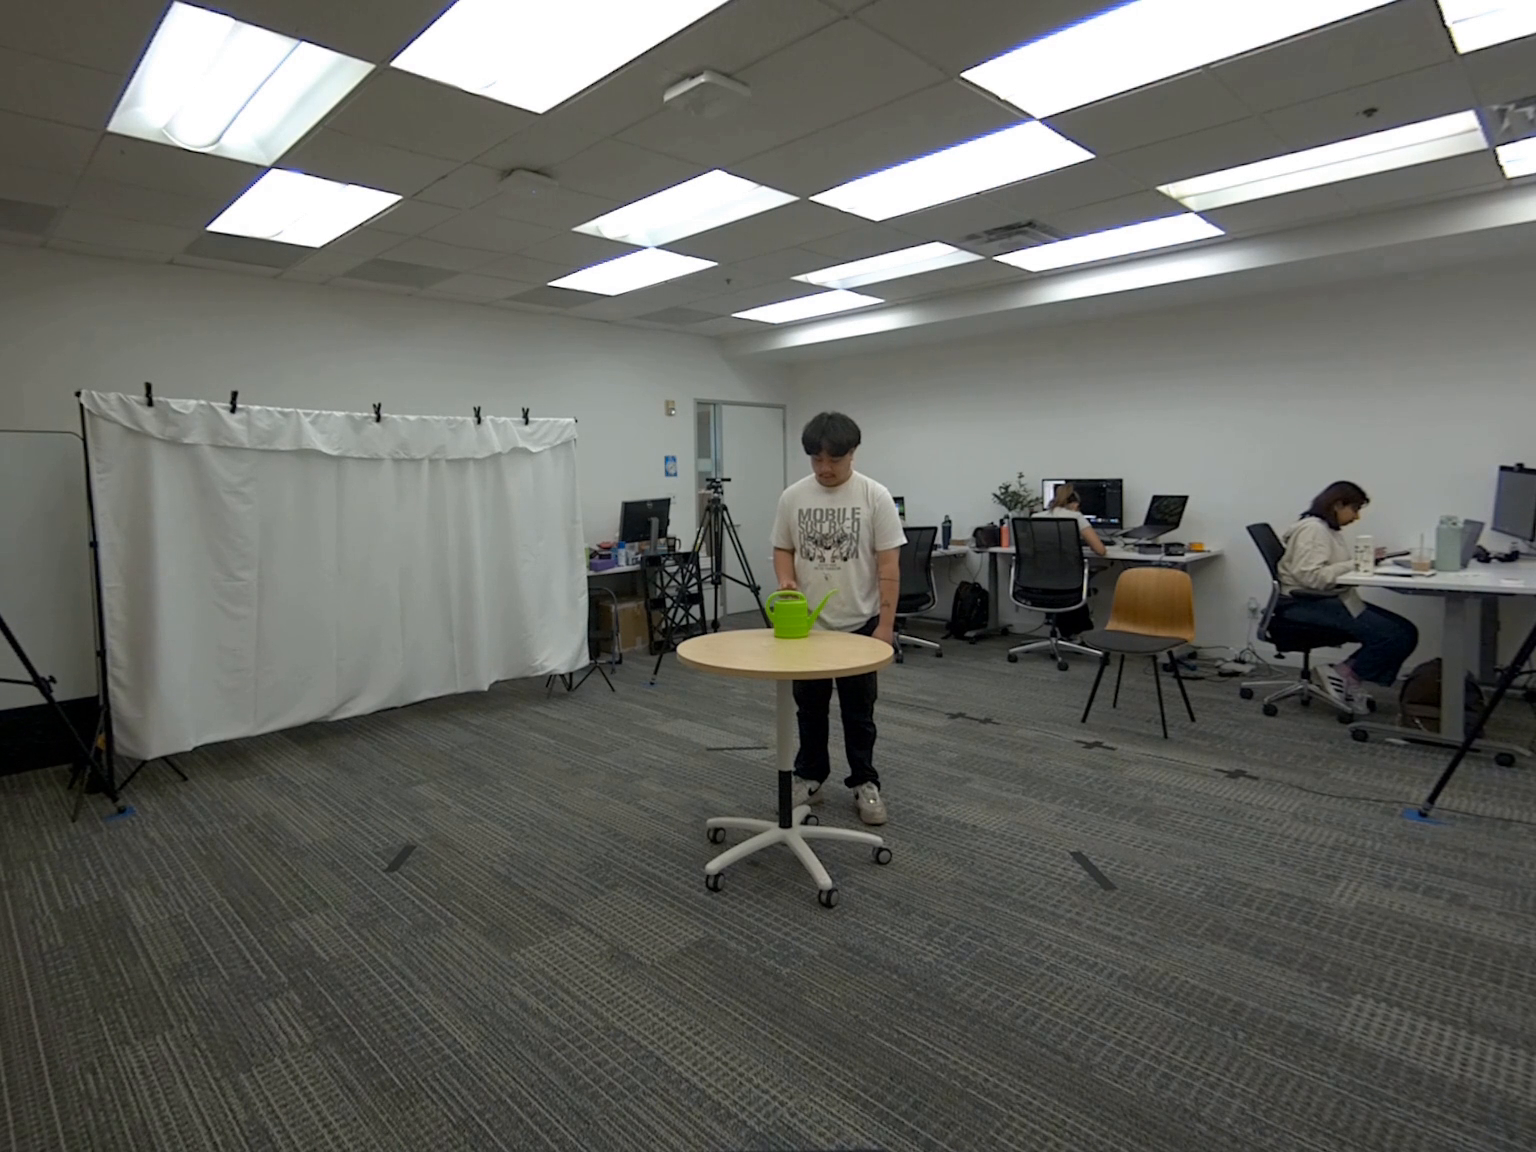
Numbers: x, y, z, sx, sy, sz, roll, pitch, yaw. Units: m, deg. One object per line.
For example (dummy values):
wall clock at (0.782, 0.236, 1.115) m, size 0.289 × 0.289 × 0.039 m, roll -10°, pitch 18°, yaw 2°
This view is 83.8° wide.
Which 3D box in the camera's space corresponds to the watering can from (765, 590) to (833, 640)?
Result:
watering can at (0.136, 0.145, 3.247) m, size 0.280 × 0.176 × 0.098 m, roll -2°, pitch 3°, yaw 6°
